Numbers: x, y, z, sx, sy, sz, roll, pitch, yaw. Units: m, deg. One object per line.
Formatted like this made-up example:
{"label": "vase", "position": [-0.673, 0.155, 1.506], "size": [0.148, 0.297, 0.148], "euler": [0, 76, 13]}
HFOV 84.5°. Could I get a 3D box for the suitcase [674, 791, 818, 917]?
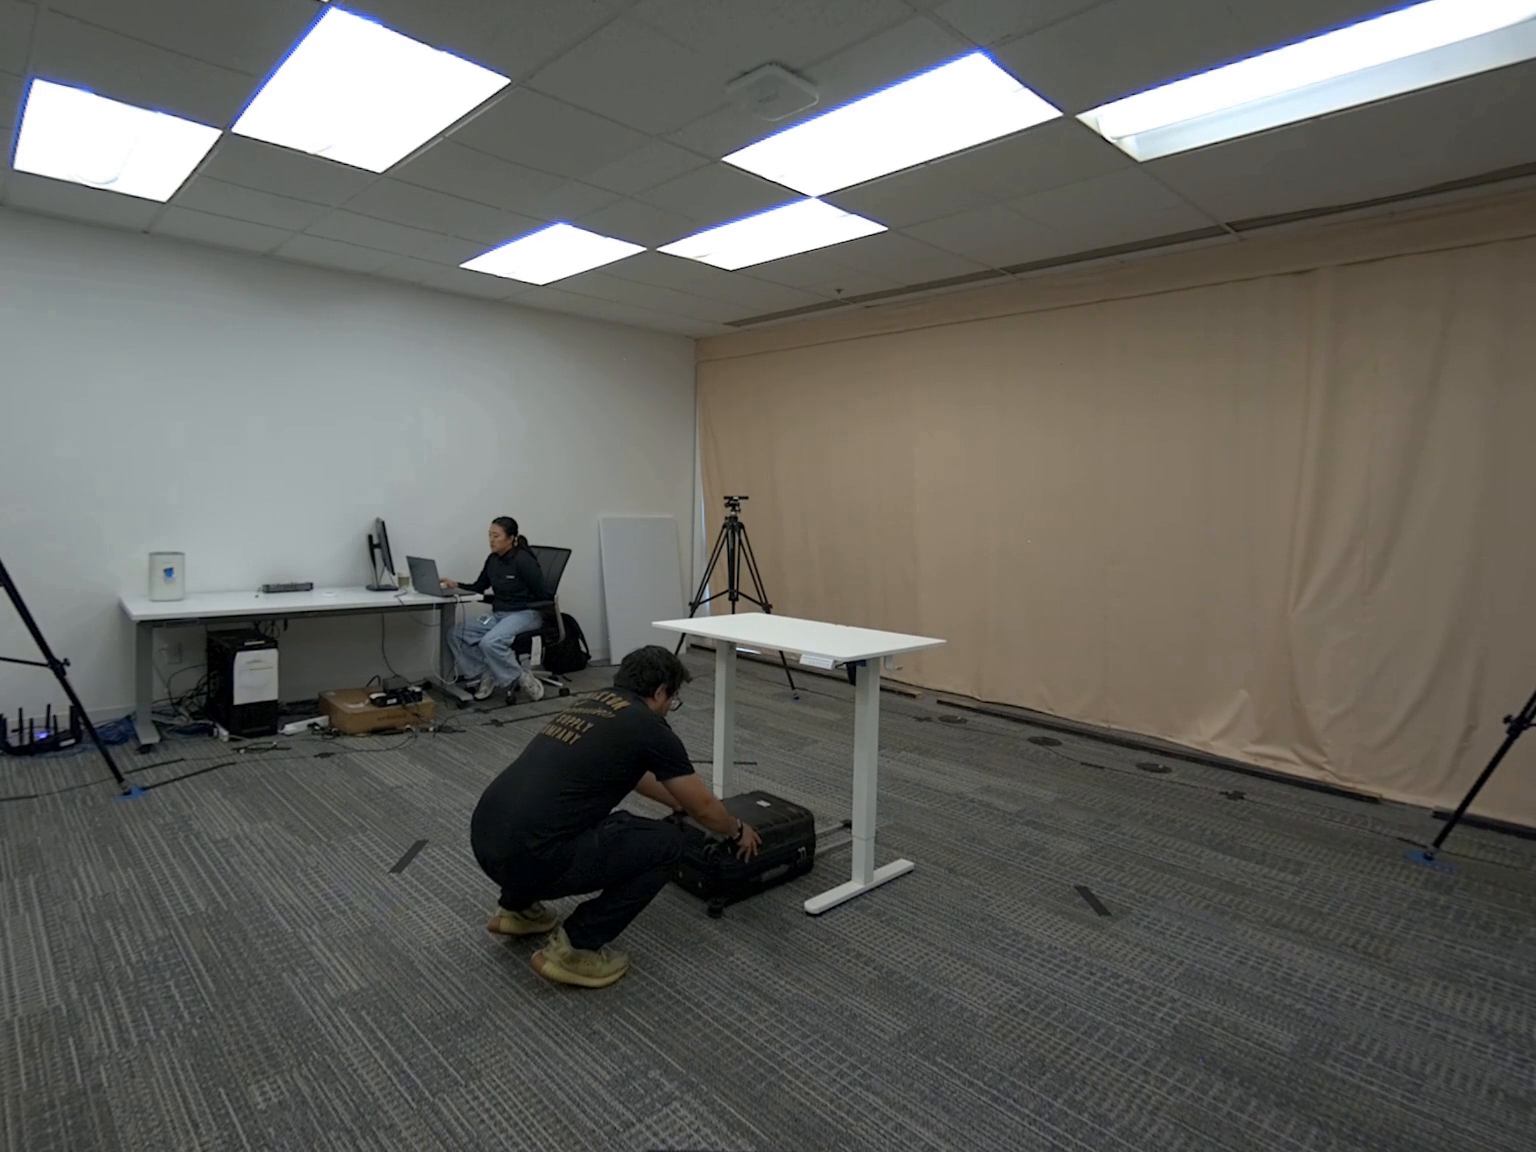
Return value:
{"label": "suitcase", "position": [0.036, 0.972, 3.223], "size": [0.957, 0.256, 0.393], "euler": [-5, 6, -43]}
